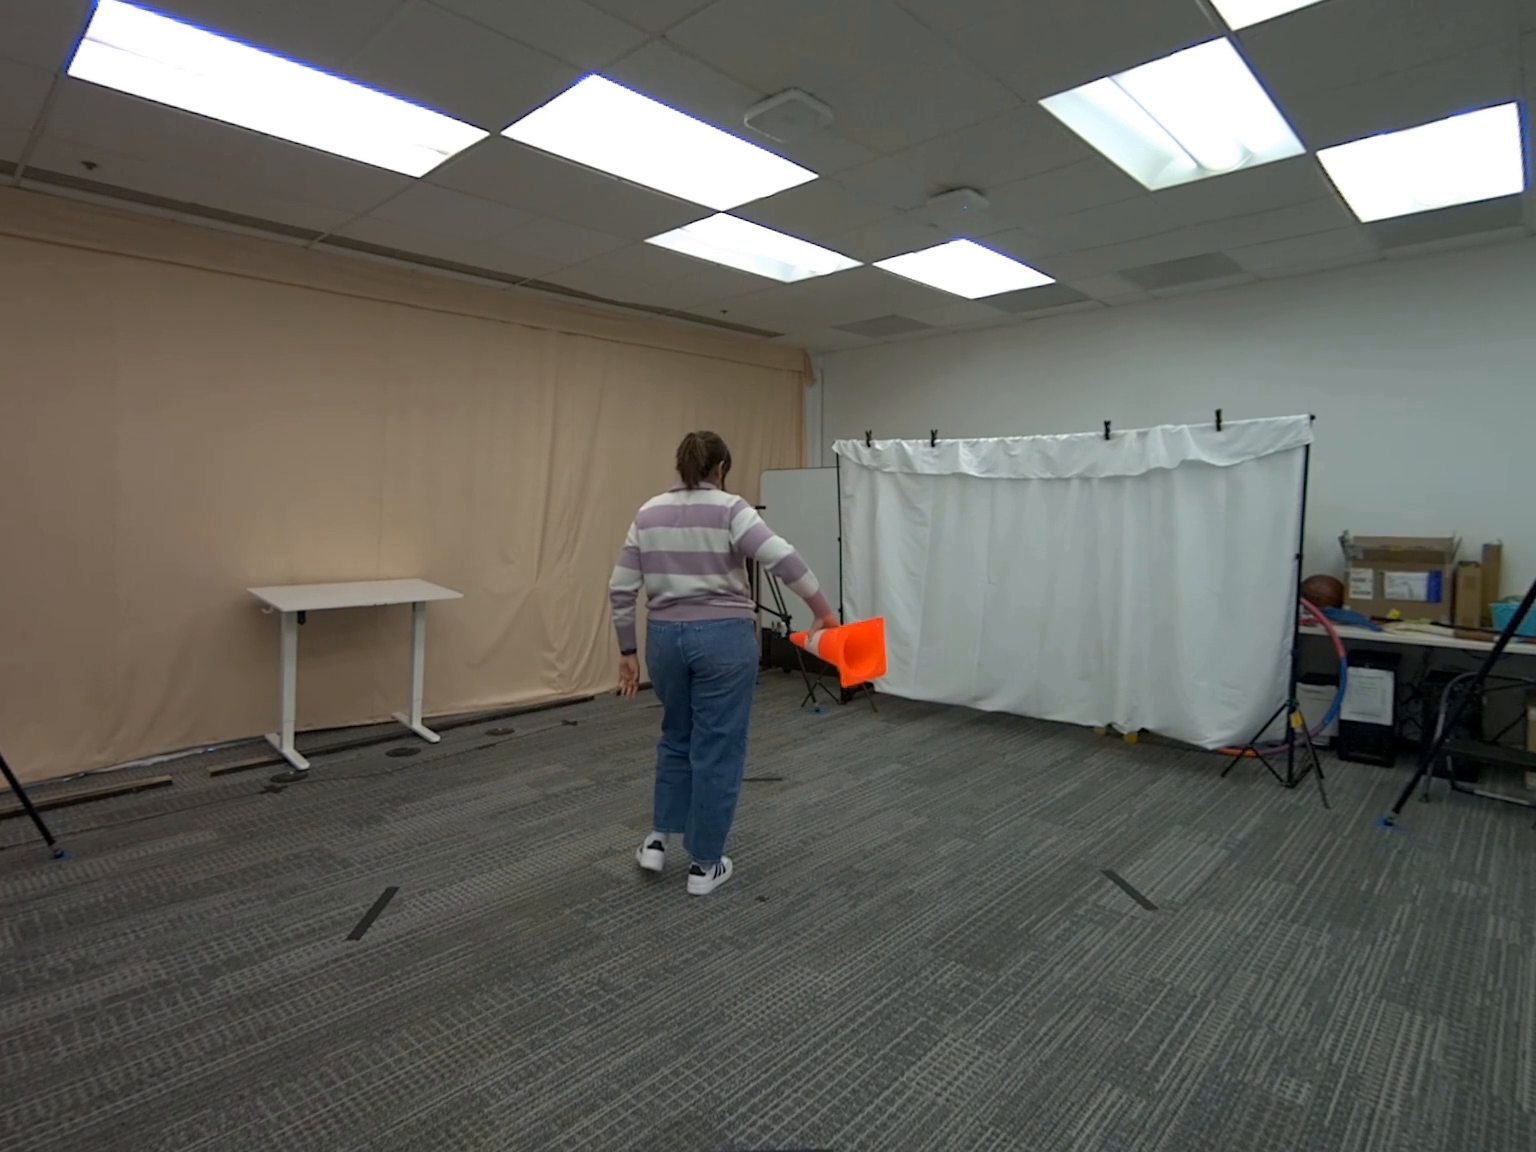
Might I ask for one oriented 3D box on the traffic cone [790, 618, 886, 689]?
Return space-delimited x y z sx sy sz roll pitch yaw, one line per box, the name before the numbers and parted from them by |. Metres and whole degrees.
traffic cone | 0.195 0.235 2.884 0.200 0.203 0.395 -10 6 -33
